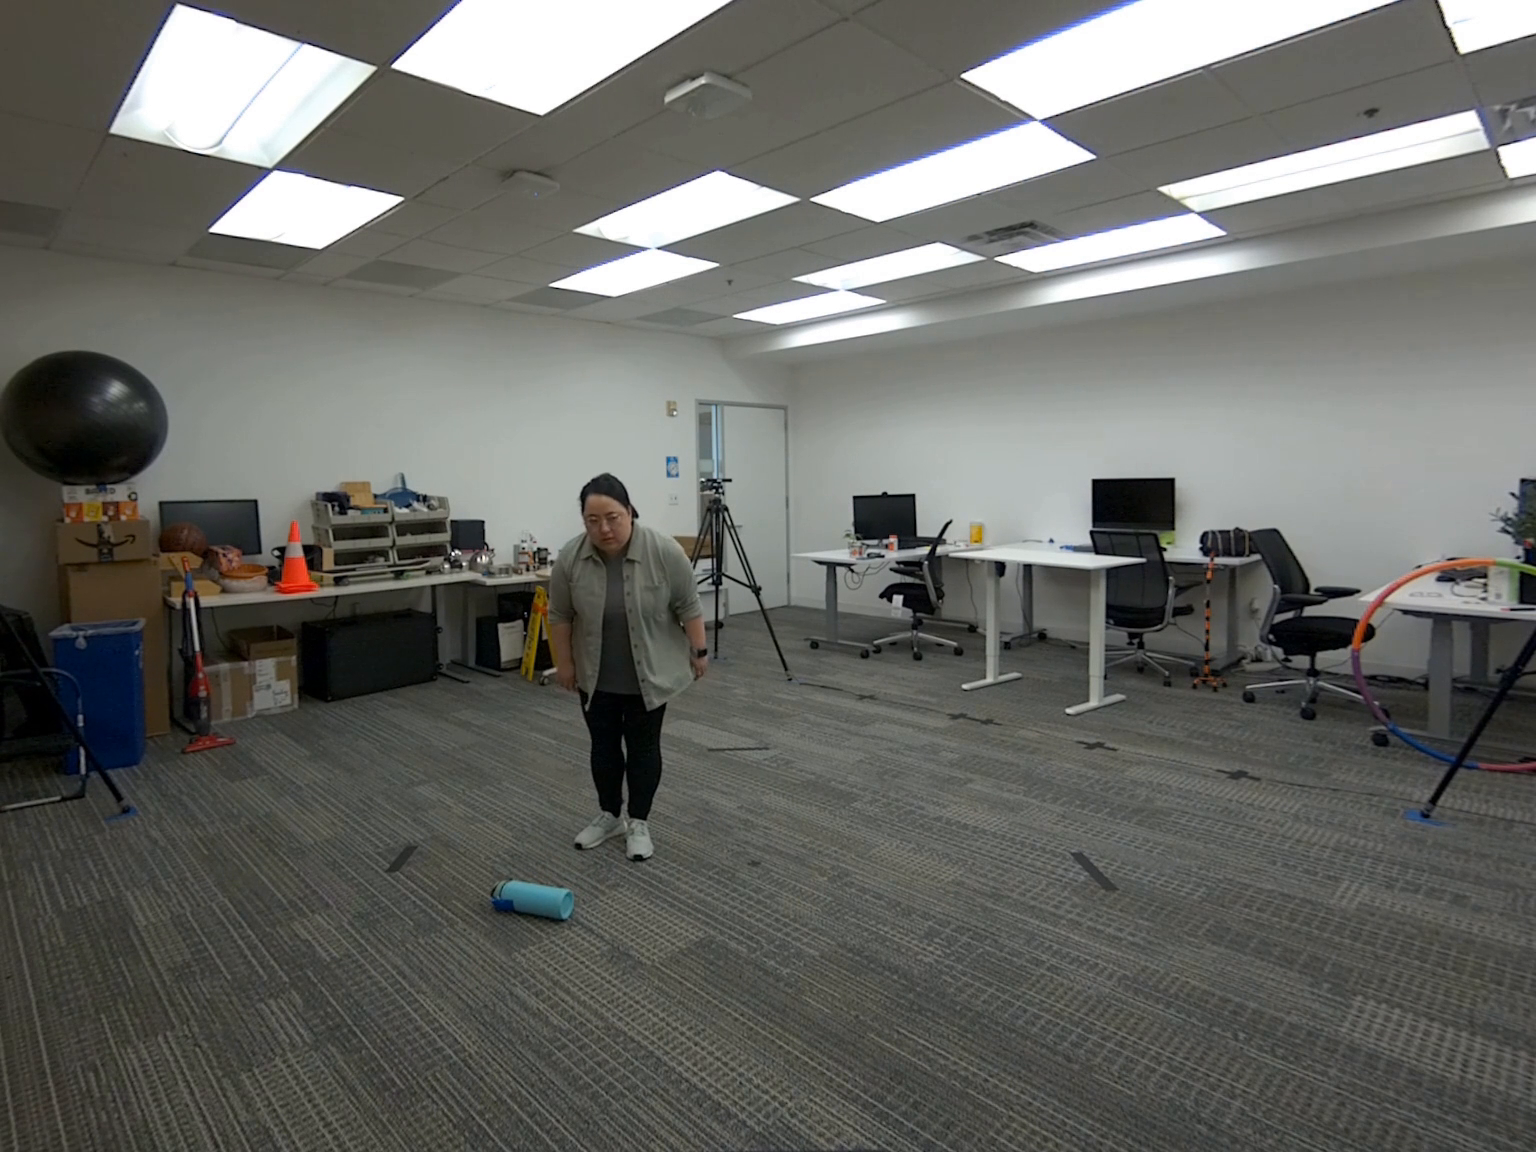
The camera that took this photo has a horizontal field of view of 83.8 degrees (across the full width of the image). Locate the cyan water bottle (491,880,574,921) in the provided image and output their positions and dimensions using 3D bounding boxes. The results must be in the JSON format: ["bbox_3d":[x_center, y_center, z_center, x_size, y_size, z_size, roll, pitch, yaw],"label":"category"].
[{"bbox_3d":[-0.772,1.051,2.786,0.288,0.092,0.091,1,5,19],"label":"cyan water bottle"}]
